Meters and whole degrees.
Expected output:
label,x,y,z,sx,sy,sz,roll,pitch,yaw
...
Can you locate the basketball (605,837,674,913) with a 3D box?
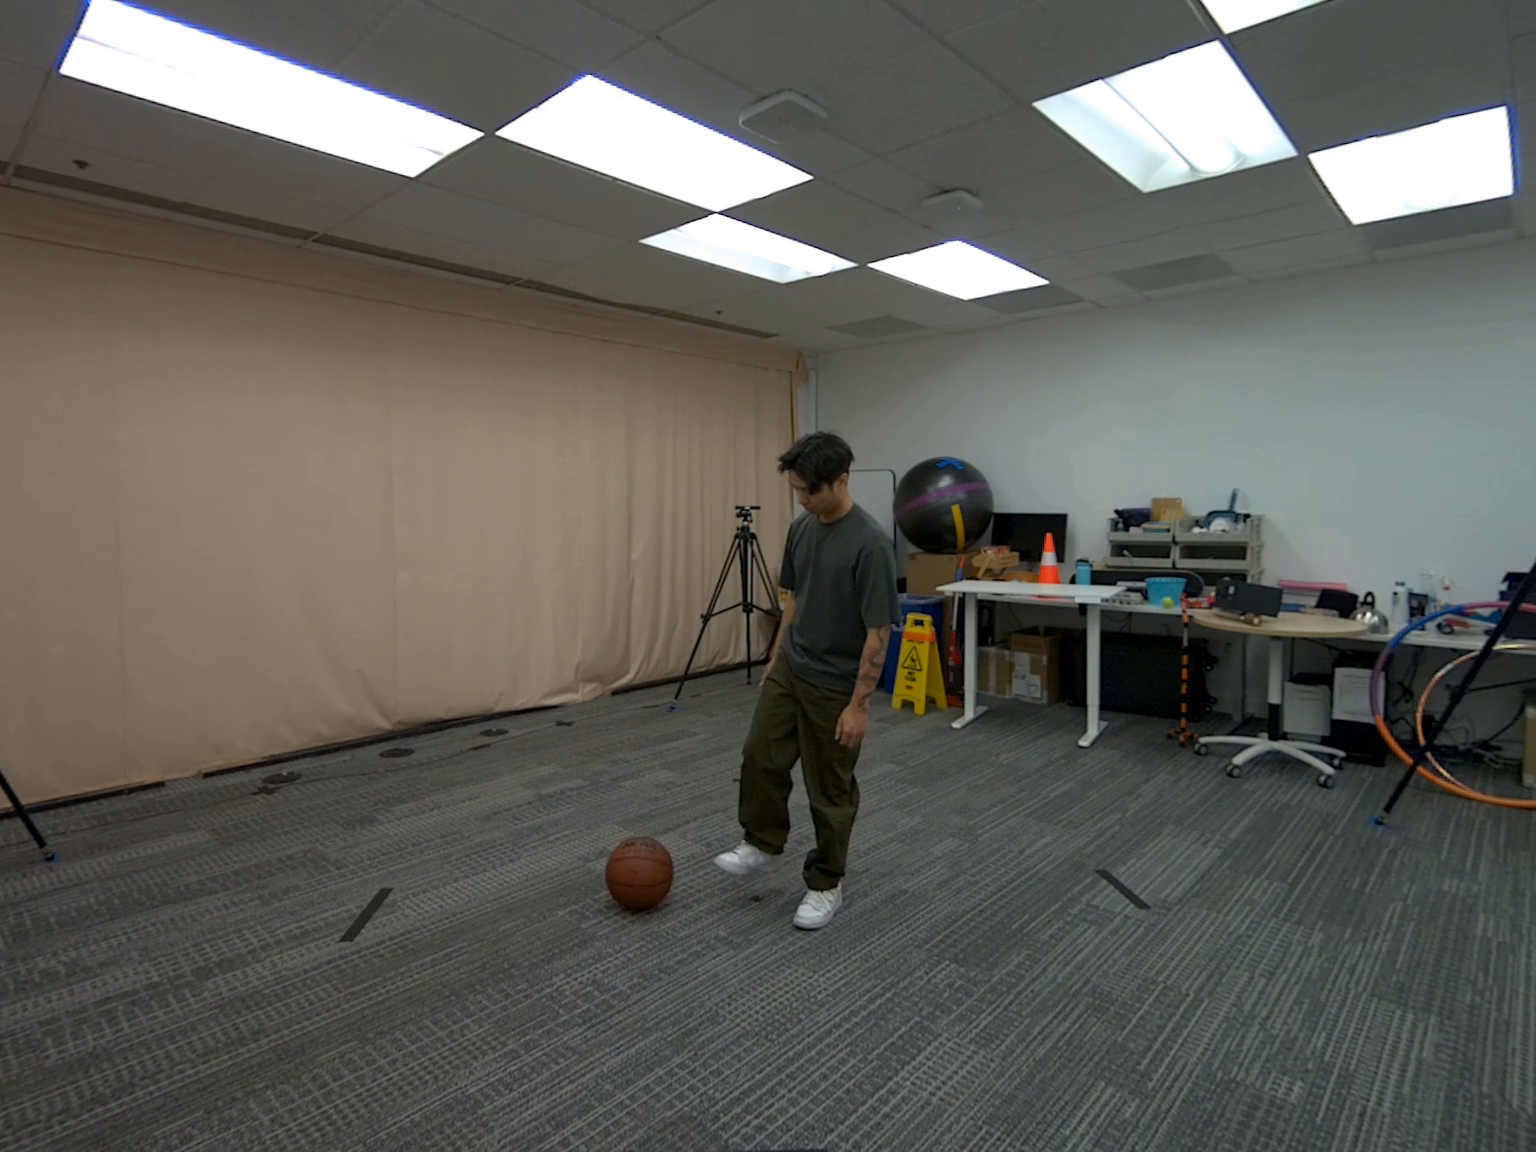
label,x,y,z,sx,sy,sz,roll,pitch,yaw
basketball,-0.446,1.036,2.926,0.236,0.235,0.237,0,4,-2
